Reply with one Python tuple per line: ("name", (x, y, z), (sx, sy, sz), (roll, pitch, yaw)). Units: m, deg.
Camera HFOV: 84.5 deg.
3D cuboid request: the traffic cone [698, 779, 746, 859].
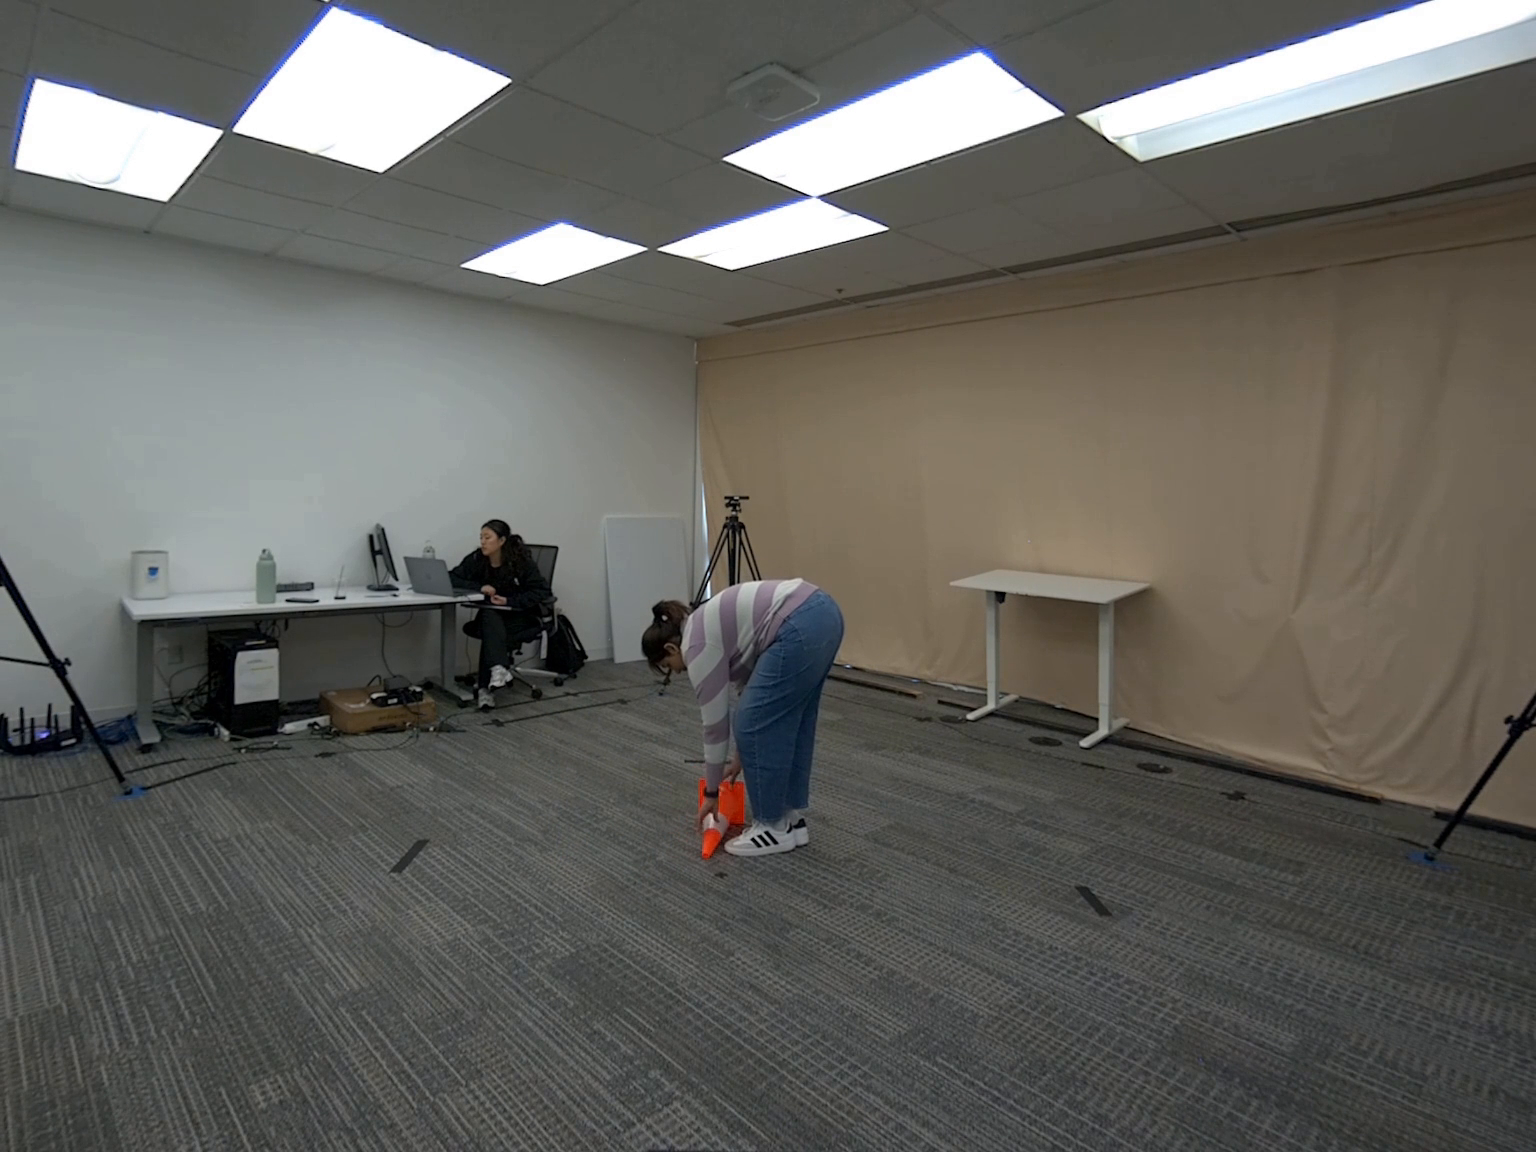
("traffic cone", (-0.233, 1.007, 3.413), (0.206, 0.201, 0.385), (5, 16, 7))
